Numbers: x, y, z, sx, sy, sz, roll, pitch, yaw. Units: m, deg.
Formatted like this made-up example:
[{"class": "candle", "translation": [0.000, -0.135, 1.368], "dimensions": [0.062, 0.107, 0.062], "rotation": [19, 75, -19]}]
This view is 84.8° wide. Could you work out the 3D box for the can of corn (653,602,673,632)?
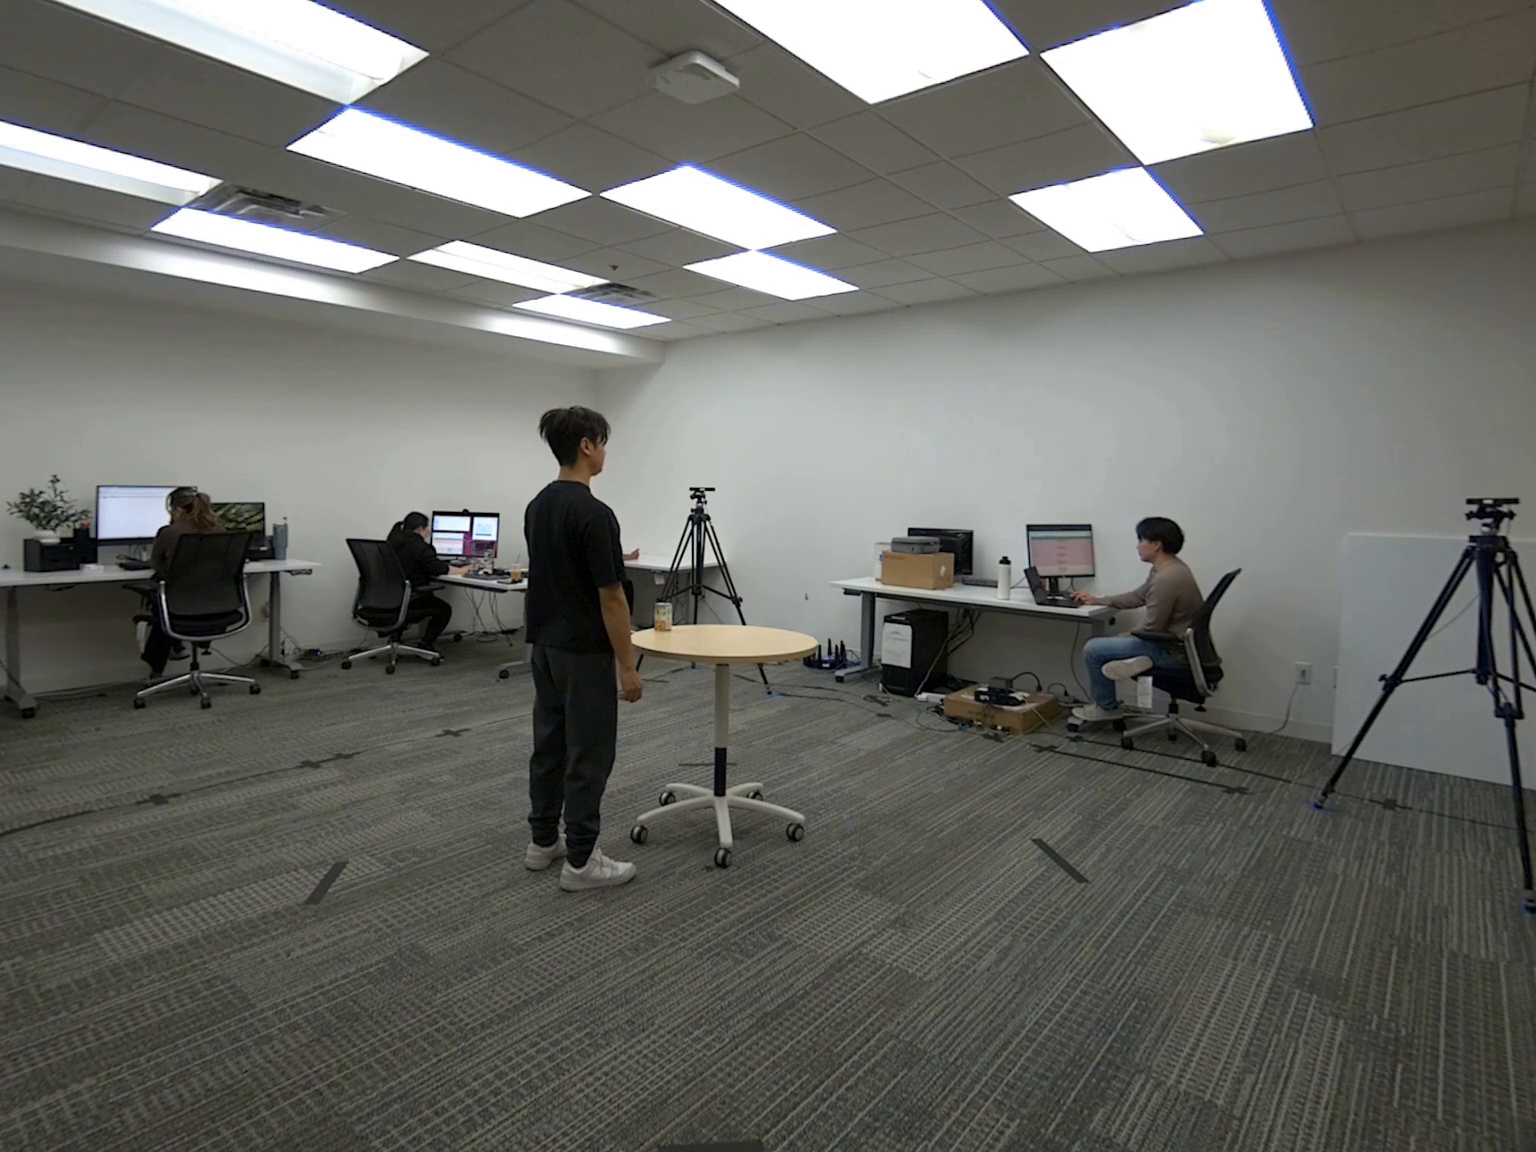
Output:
[{"class": "can of corn", "translation": [-0.465, 0.170, 3.648], "dimensions": [0.074, 0.110, 0.074], "rotation": [-1, 5, -2]}]
